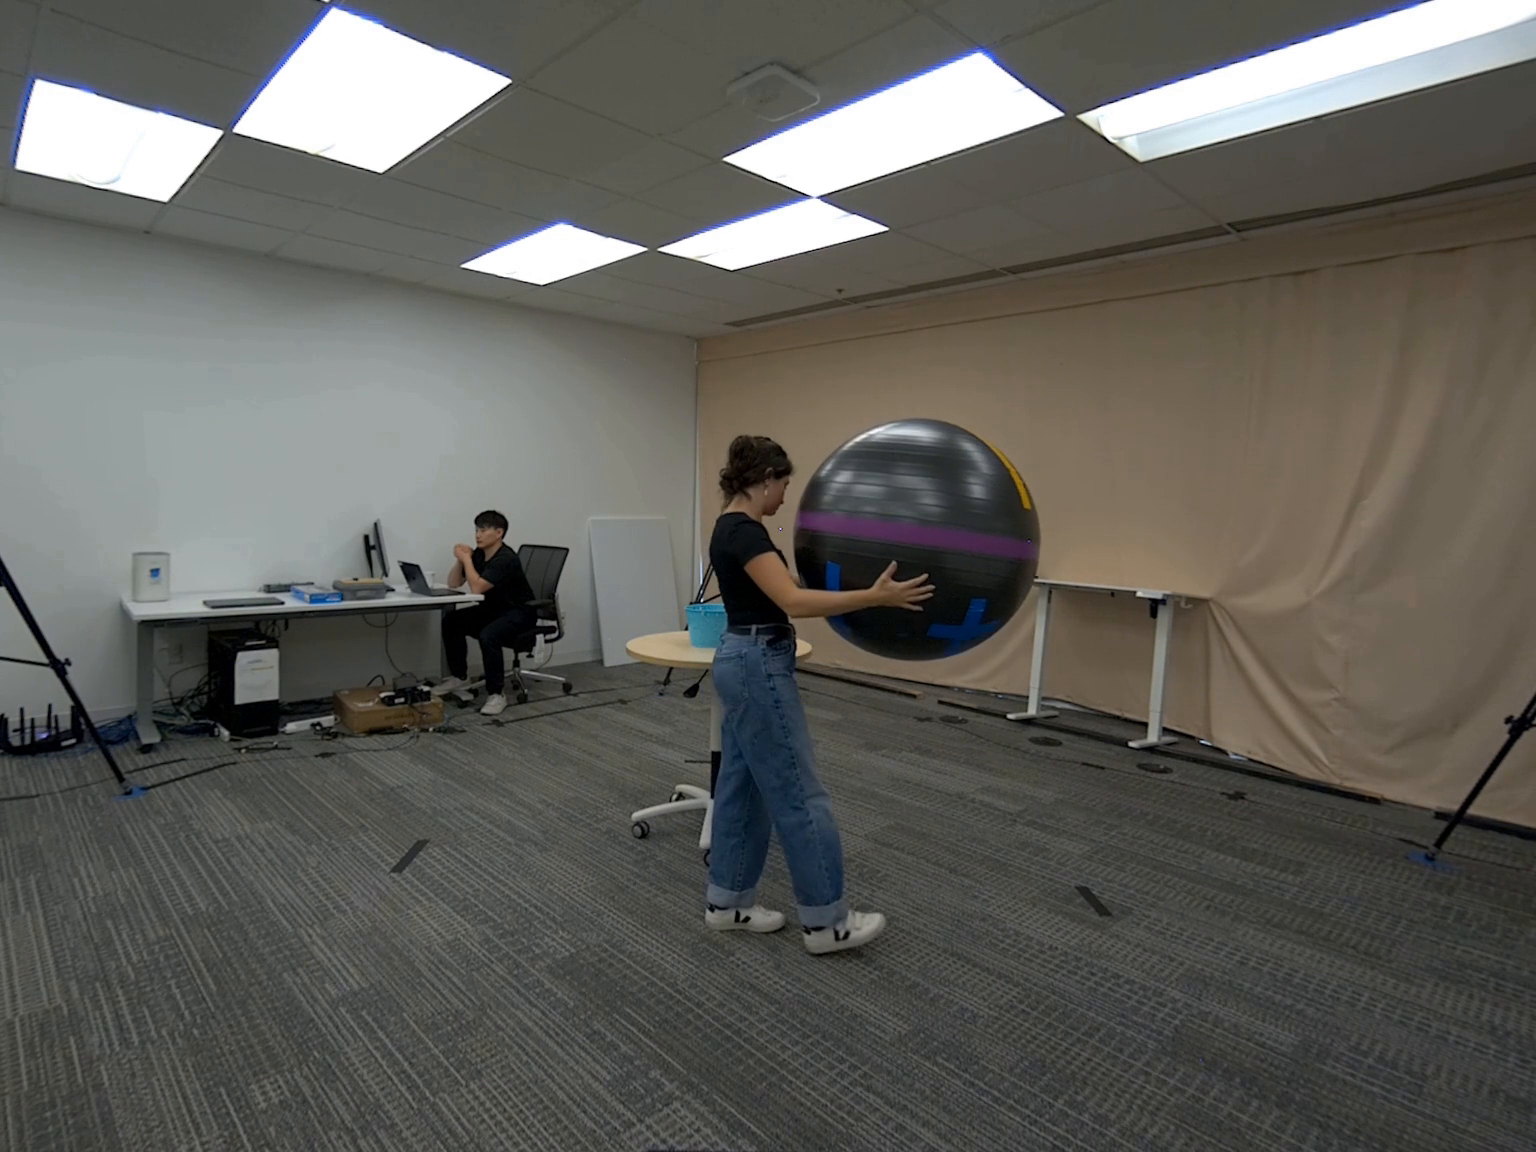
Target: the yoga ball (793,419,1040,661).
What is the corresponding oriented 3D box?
[{"bbox_3d":[0.469,-0.104,2.664,0.757,0.756,0.761,1,4,-1],"label":"yoga ball"}]
